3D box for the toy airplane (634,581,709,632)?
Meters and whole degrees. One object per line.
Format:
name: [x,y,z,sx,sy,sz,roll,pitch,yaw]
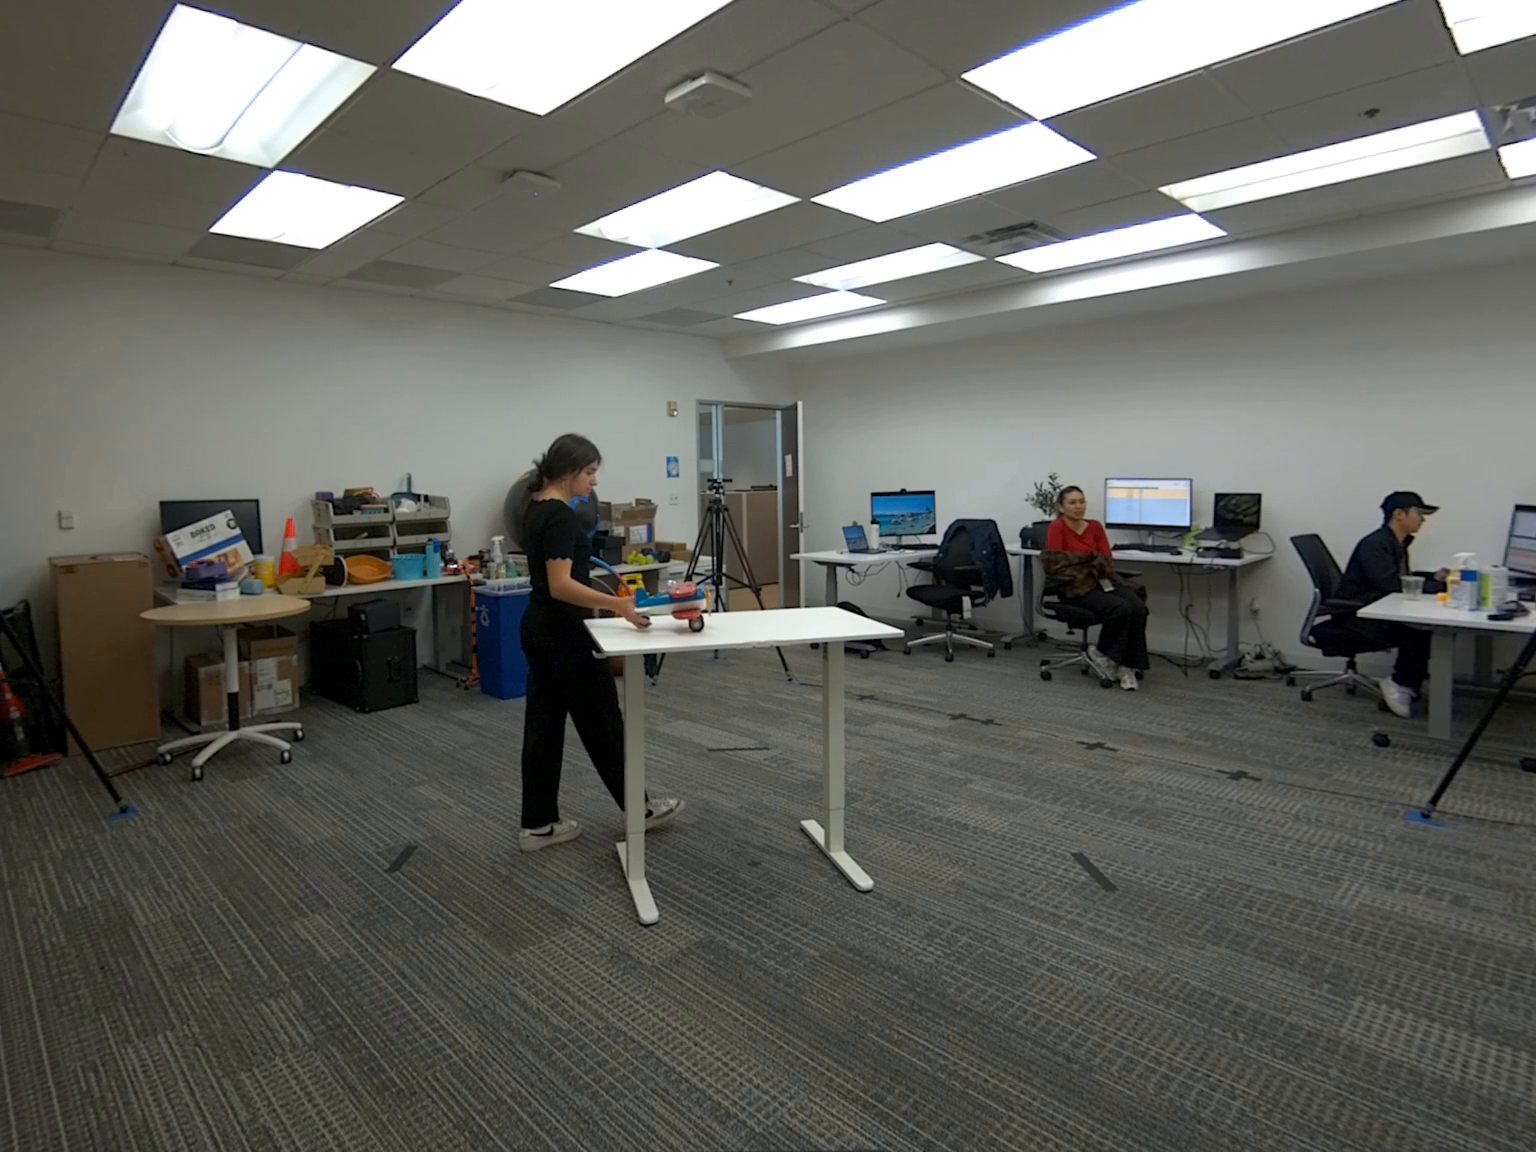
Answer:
toy airplane: [-0.326,0.105,2.904,0.252,0.156,0.259,2,5,-32]
